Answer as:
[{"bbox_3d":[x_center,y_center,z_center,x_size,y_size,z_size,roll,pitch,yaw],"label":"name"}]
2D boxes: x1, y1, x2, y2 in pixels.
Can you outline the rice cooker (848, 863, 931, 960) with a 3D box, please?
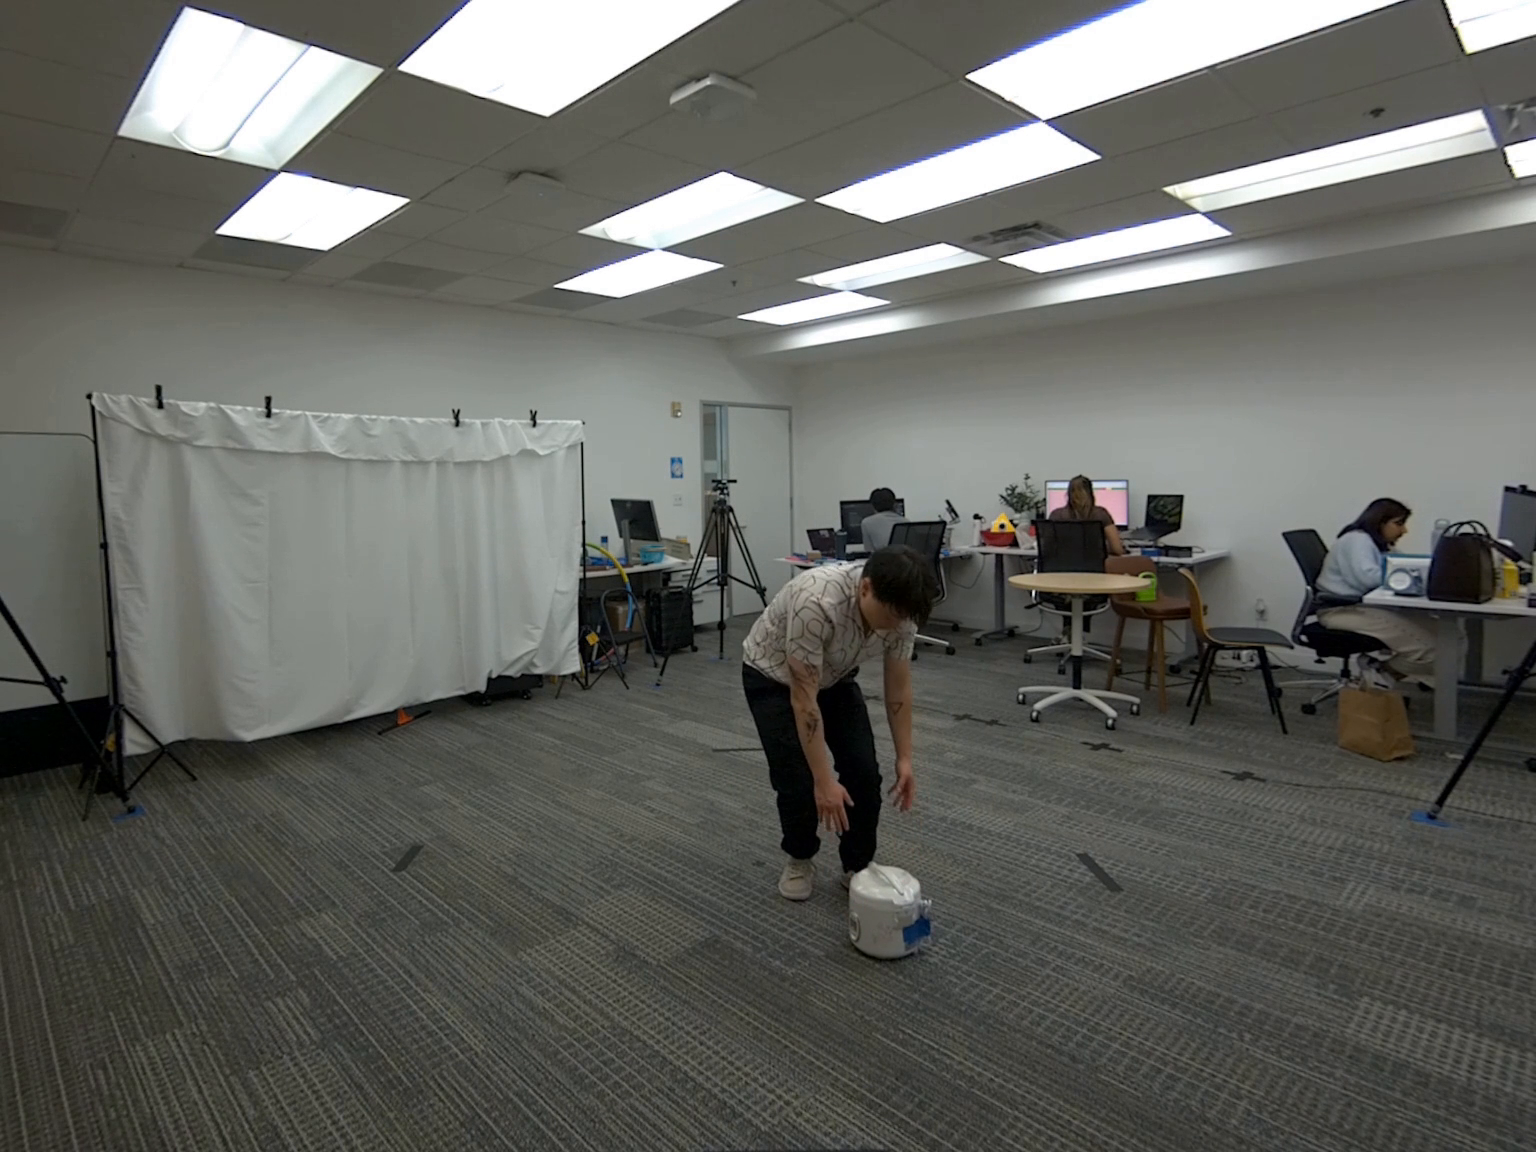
[{"bbox_3d":[0.341,0.986,2.547,0.213,0.232,0.226,-2,5,-23],"label":"rice cooker"}]
